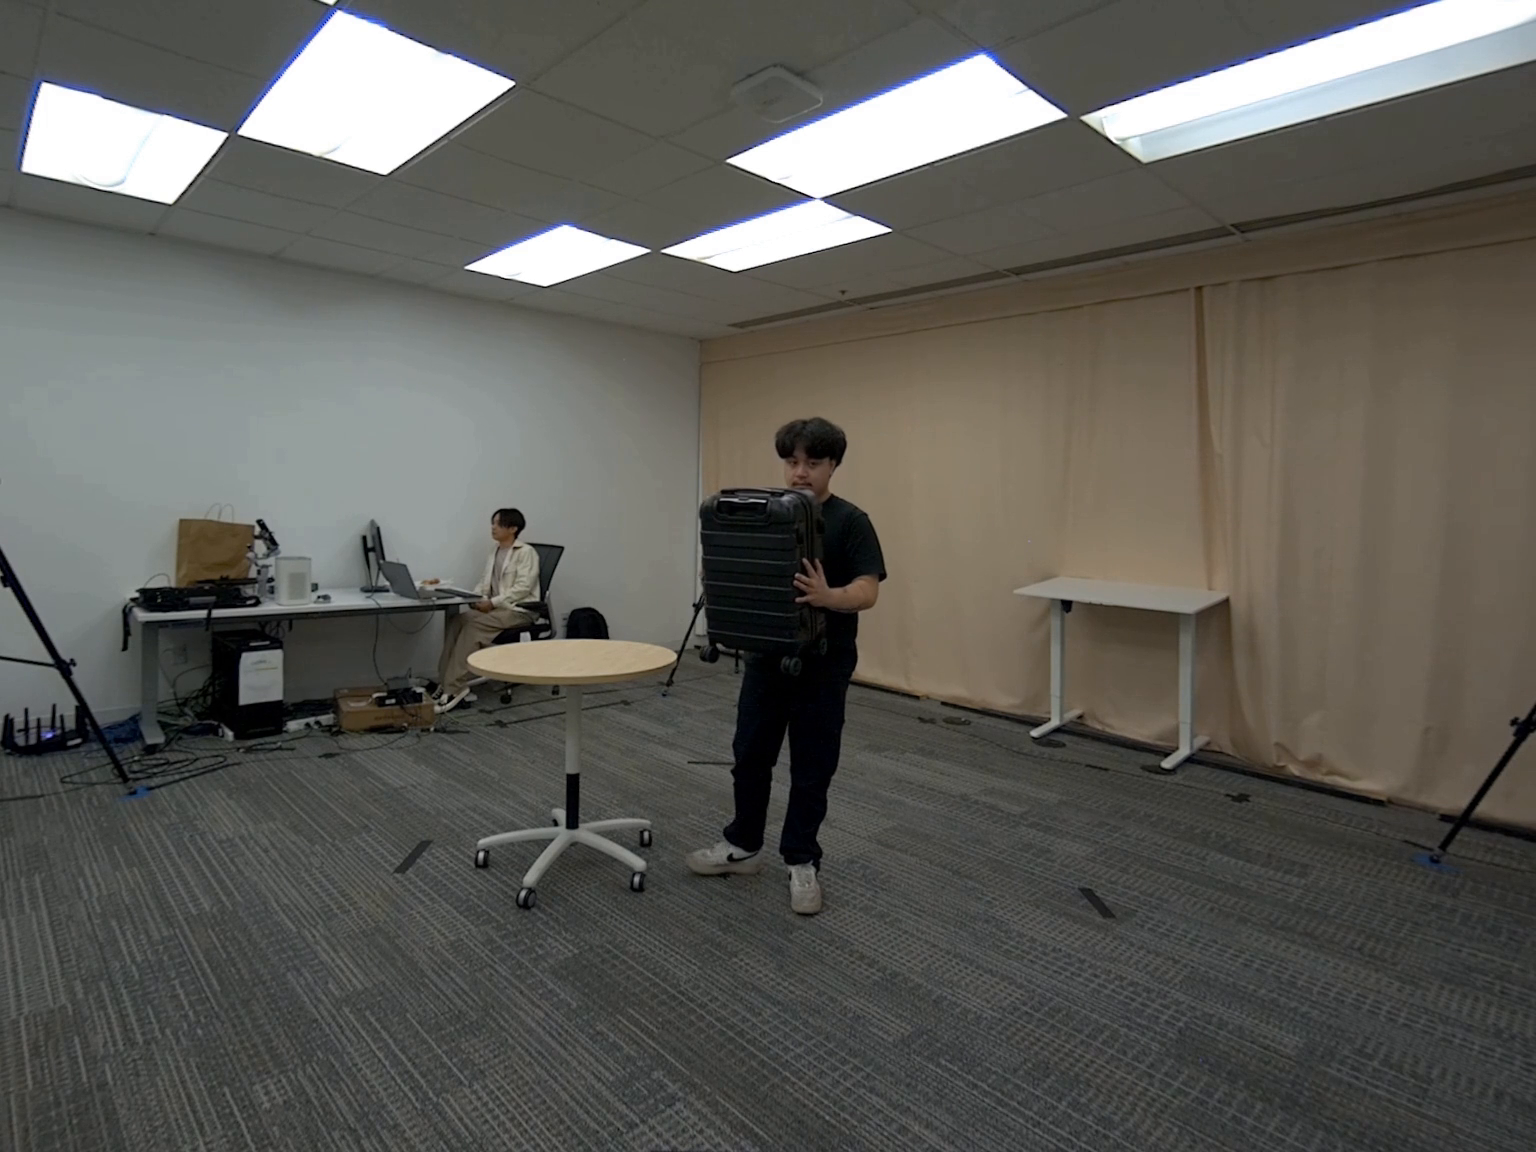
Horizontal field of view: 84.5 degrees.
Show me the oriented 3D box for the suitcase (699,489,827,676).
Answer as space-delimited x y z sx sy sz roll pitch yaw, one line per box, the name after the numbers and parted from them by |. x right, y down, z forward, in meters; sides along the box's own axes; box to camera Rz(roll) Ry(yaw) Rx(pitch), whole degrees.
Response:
-0.021 -0.006 2.673 0.384 0.545 0.245 5 13 32 | suitcase
